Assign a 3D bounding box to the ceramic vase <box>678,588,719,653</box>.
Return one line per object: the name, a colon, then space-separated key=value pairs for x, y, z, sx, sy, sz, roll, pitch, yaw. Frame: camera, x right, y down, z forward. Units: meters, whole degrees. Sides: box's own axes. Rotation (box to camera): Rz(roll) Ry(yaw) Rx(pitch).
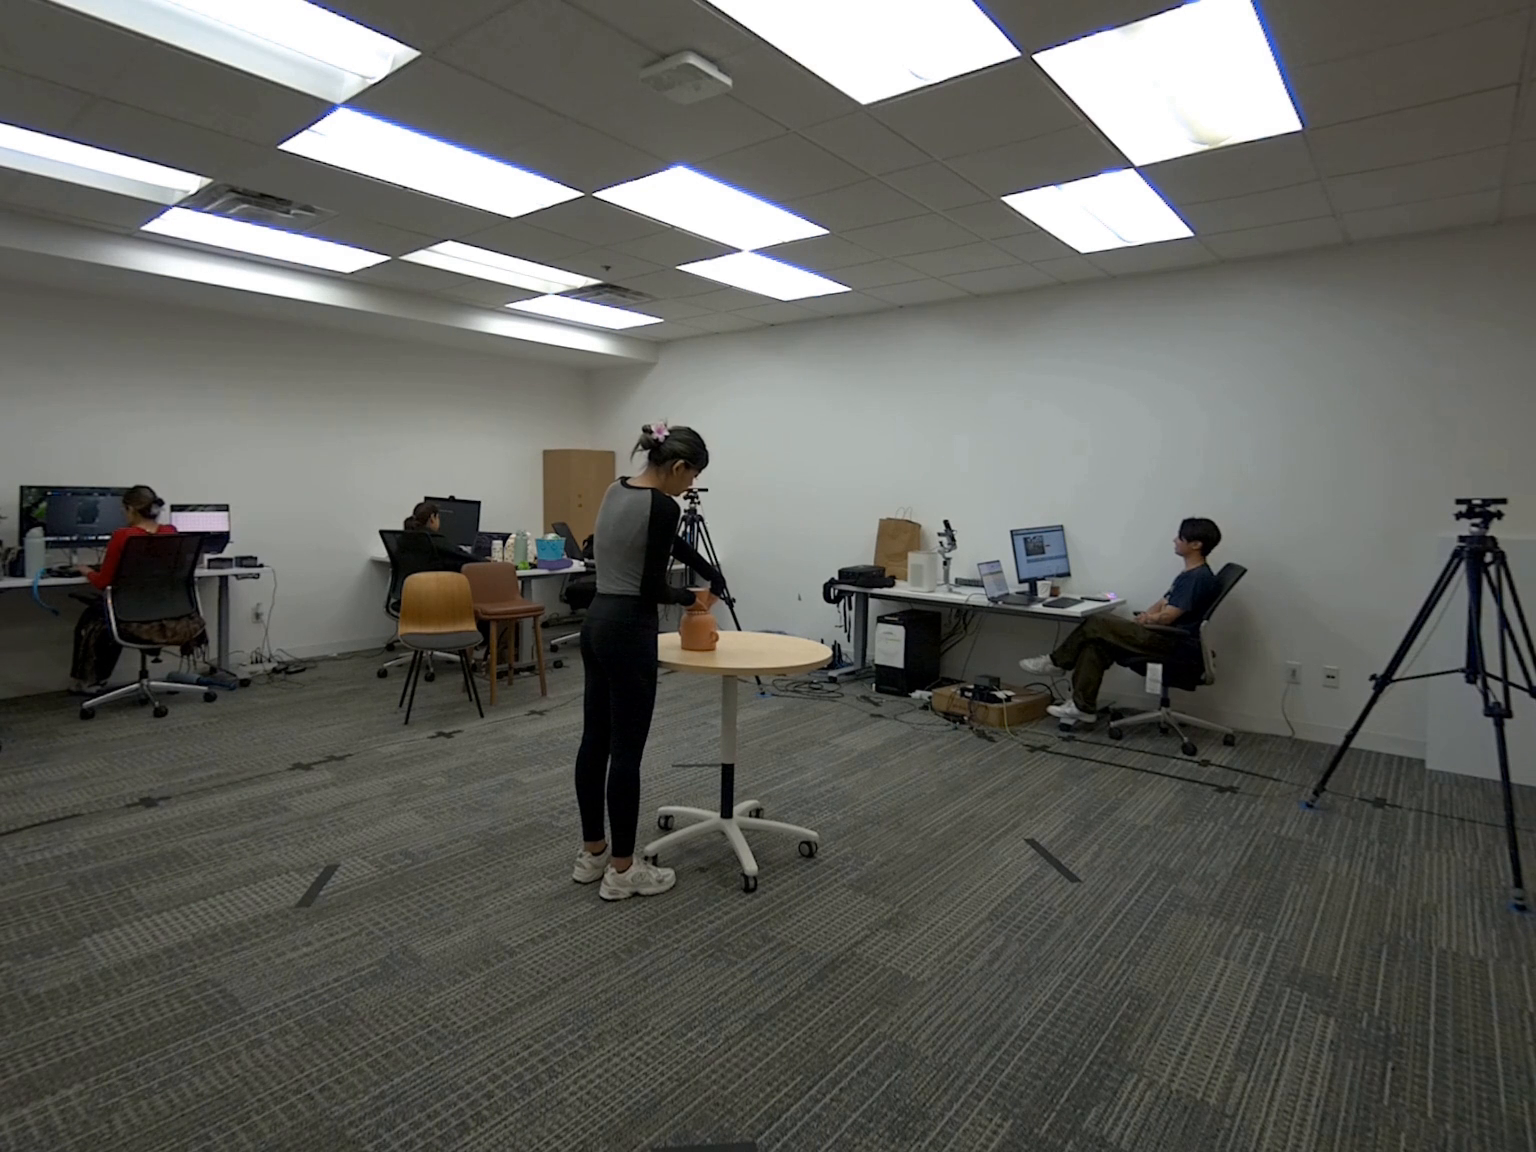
ceramic vase: x=-0.272 y=0.158 z=3.177 sx=0.159 sy=0.219 sz=0.135 roll=2 pitch=3 yaw=-2
